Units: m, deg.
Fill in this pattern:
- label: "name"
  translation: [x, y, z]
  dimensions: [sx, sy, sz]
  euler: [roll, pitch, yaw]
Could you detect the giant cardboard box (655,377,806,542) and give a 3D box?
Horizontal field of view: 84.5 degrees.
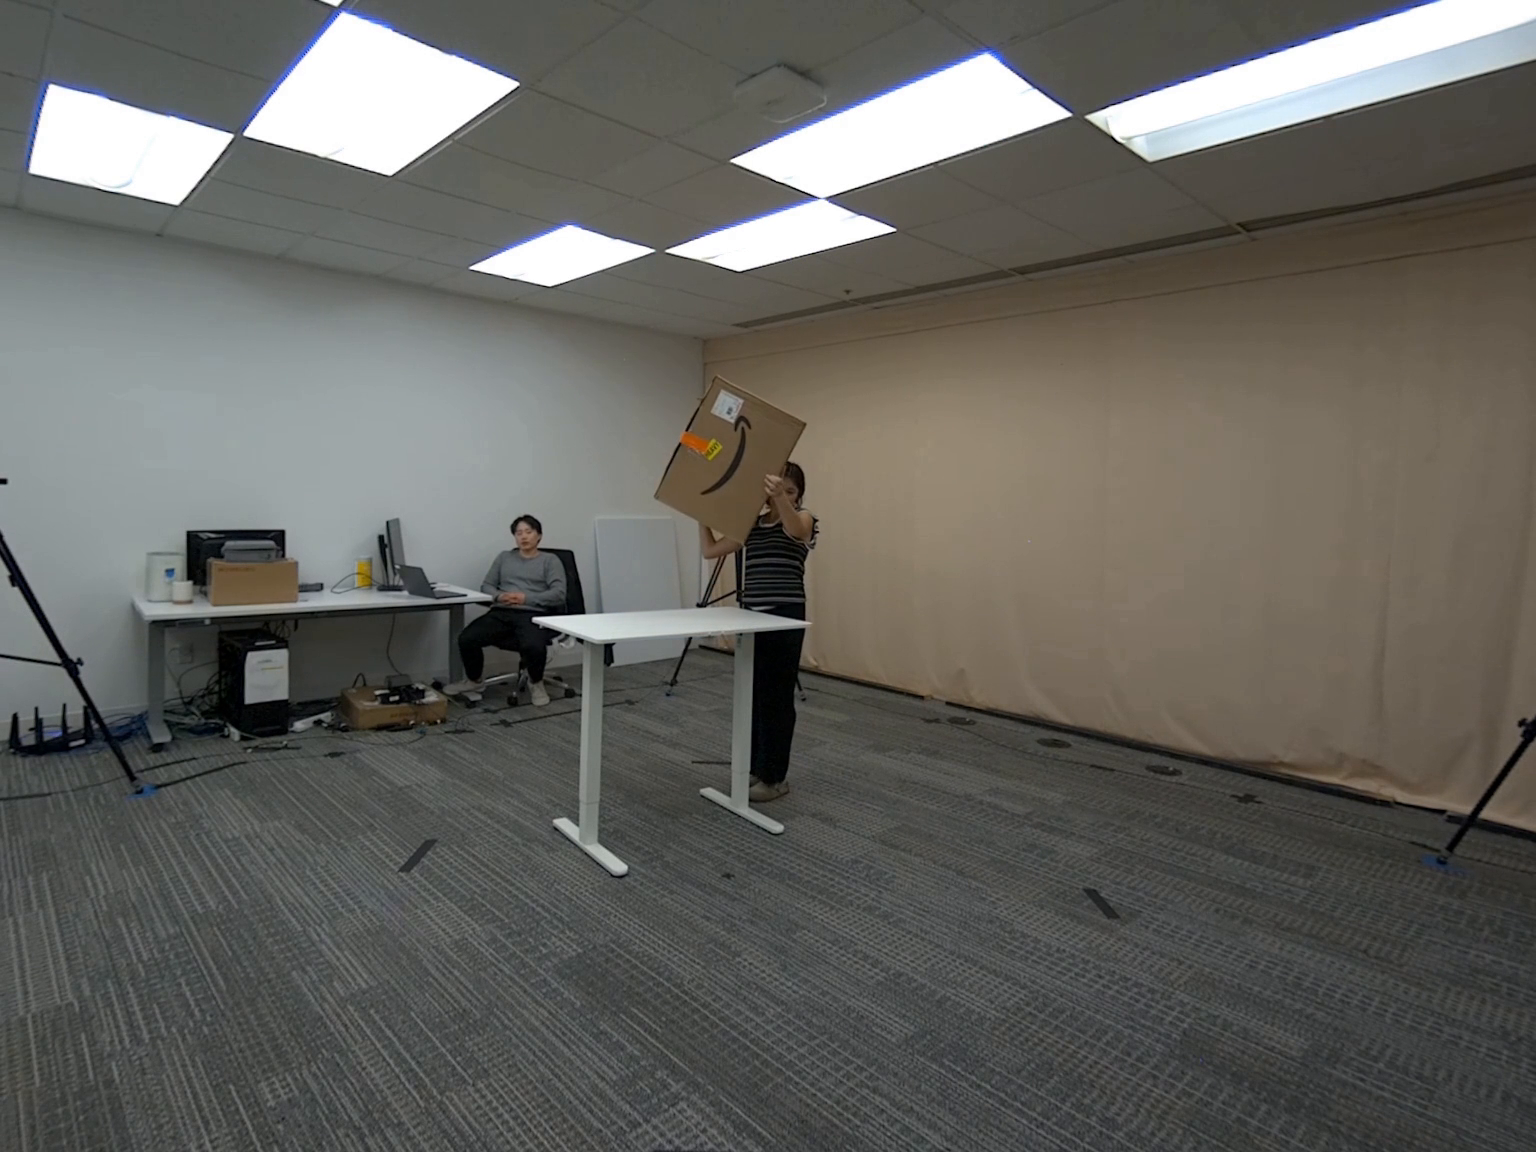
- label: "giant cardboard box"
  translation: [-0.189, -0.577, 3.978]
  dimensions: [0.424, 0.576, 1.033]
  euler: [27, 9, -6]
